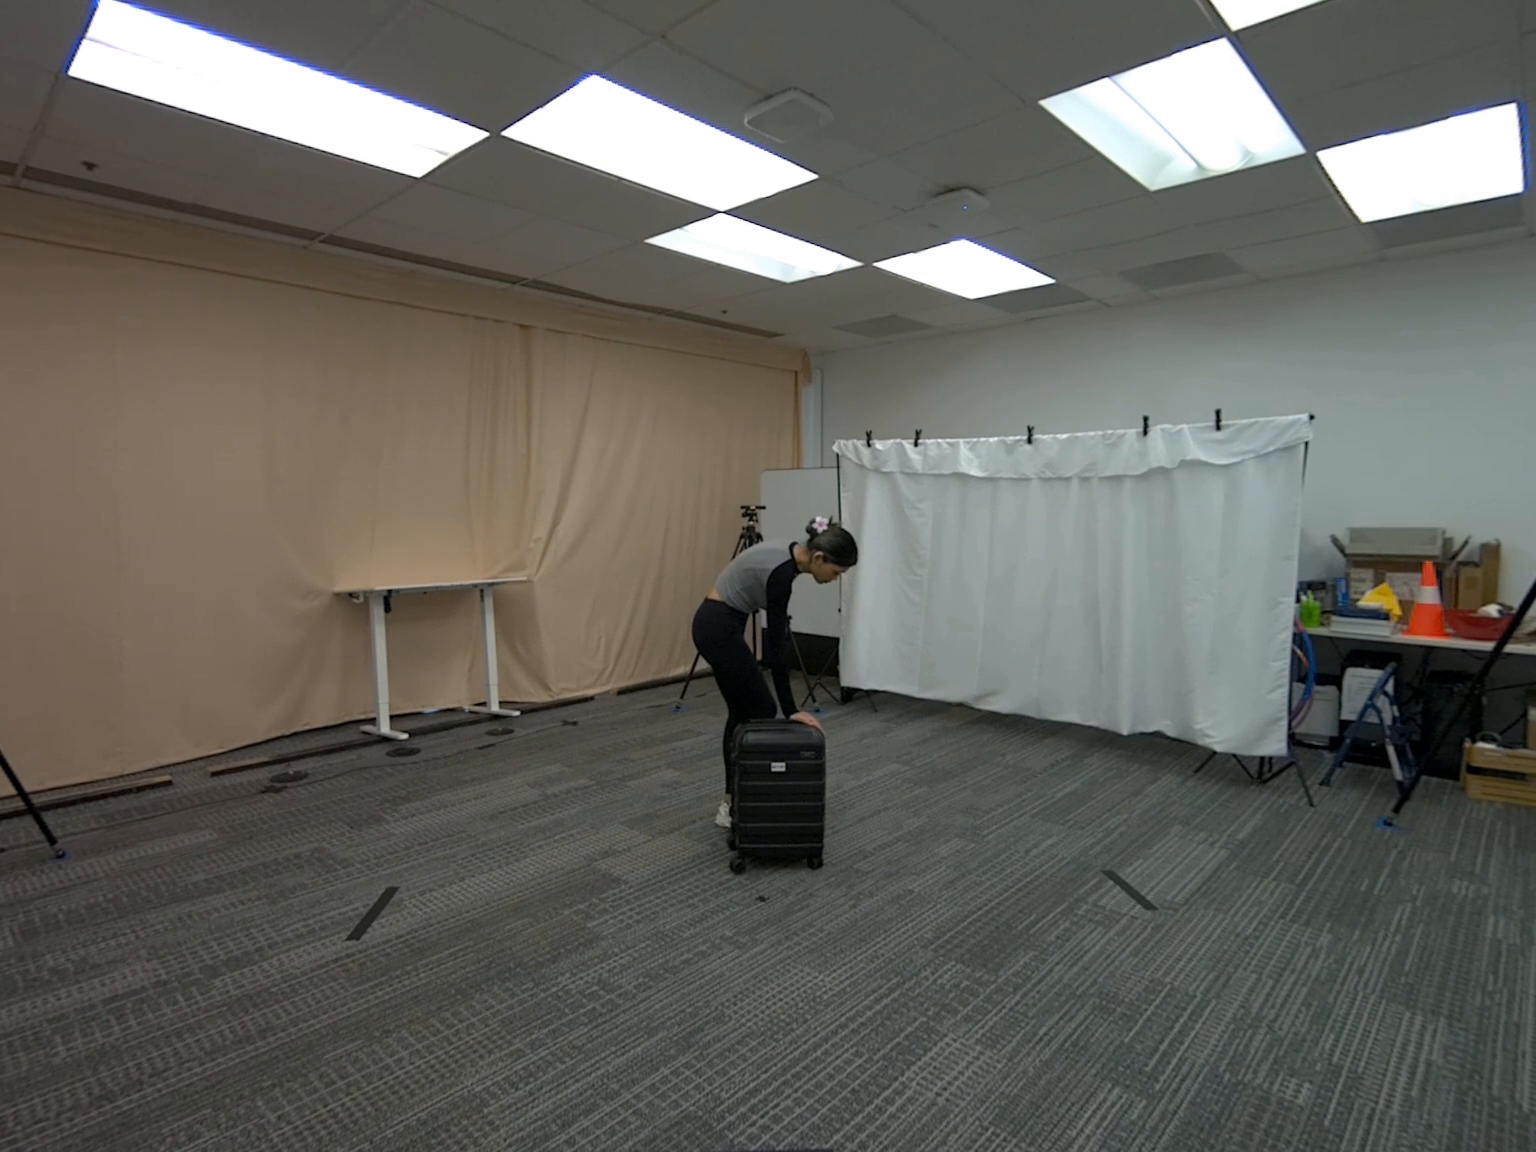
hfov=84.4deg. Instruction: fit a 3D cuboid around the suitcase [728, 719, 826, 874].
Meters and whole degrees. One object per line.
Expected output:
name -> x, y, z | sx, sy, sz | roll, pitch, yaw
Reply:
suitcase -> 0.045, 0.838, 3.302 | 0.375, 0.548, 0.249 | 2, 5, -1
